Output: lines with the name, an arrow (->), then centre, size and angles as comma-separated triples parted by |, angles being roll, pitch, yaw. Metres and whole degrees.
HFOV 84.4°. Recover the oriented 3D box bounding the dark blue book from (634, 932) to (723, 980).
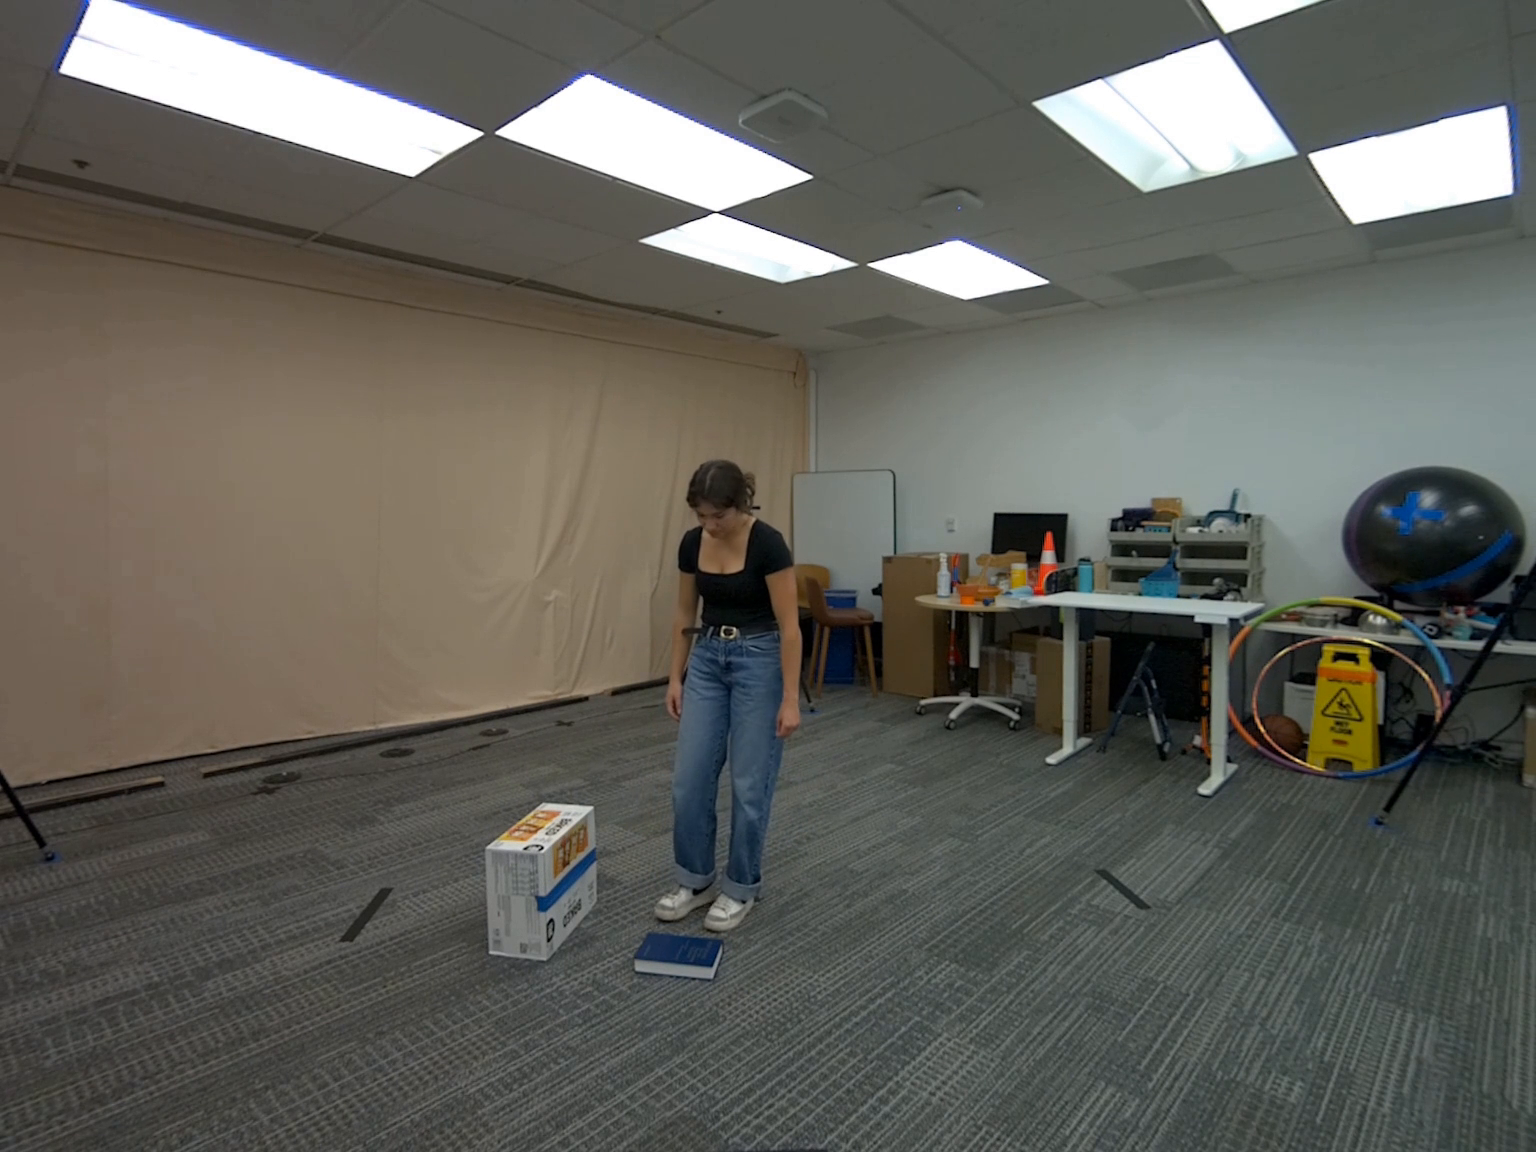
dark blue book -> -0.266, 1.155, 2.562 | 0.248, 0.045, 0.162 | 1, 5, 11
